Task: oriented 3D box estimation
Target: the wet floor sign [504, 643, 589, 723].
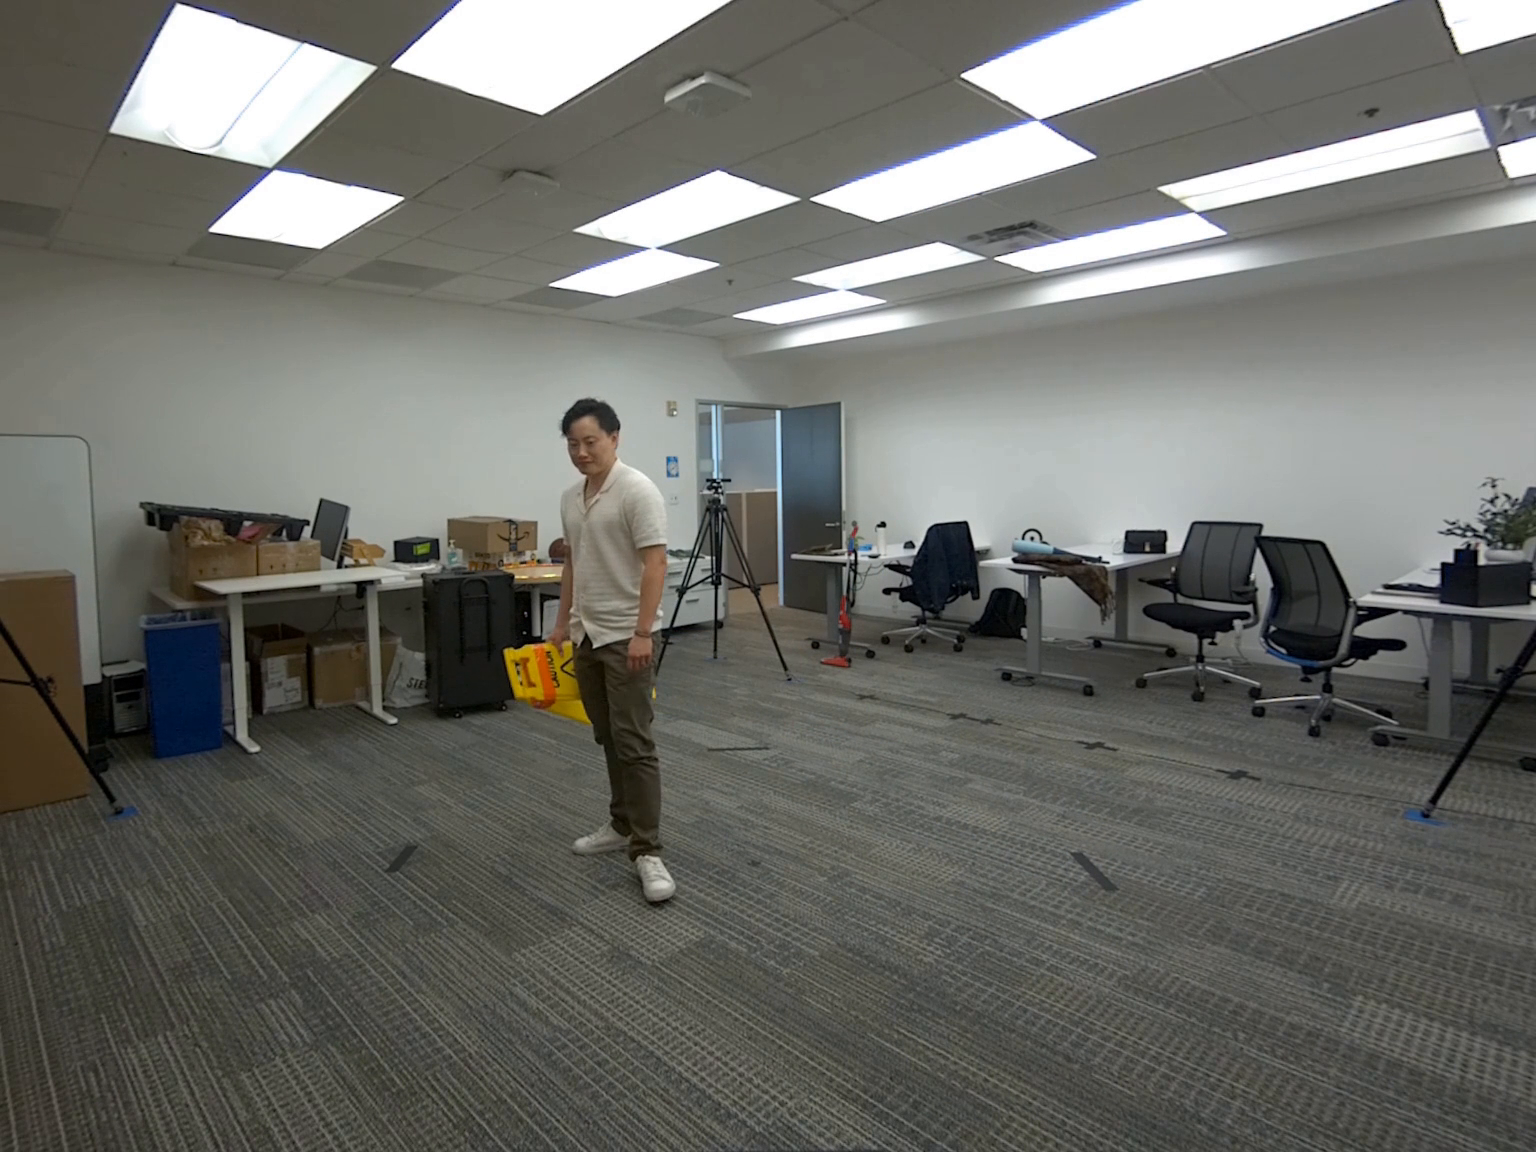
[{"bbox_3d":[-0.772,0.400,3.353,0.292,0.290,0.625,-32,-24,23],"label":"wet floor sign"}]
